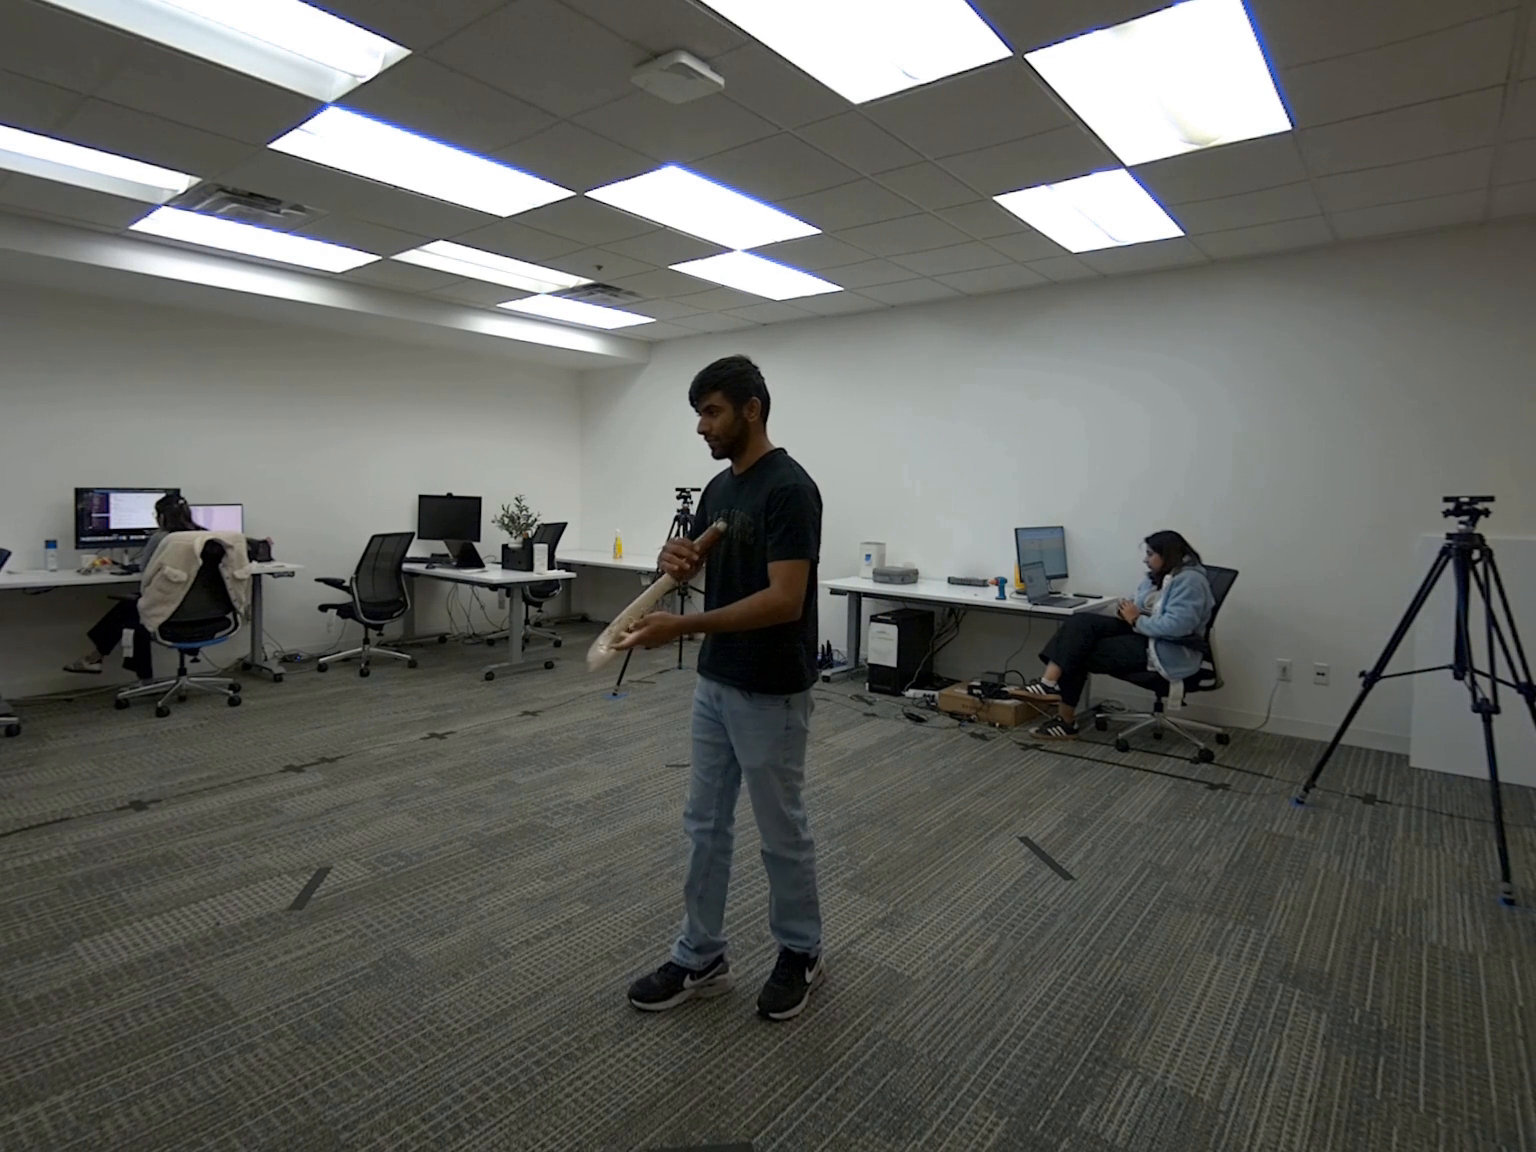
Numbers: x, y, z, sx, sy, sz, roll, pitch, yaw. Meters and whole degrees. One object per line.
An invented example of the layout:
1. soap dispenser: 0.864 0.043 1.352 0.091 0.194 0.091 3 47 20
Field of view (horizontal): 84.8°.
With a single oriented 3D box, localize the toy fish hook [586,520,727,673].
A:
1. toy fish hook: -0.277 0.048 2.123 0.047 0.506 0.231 44 -2 -23
